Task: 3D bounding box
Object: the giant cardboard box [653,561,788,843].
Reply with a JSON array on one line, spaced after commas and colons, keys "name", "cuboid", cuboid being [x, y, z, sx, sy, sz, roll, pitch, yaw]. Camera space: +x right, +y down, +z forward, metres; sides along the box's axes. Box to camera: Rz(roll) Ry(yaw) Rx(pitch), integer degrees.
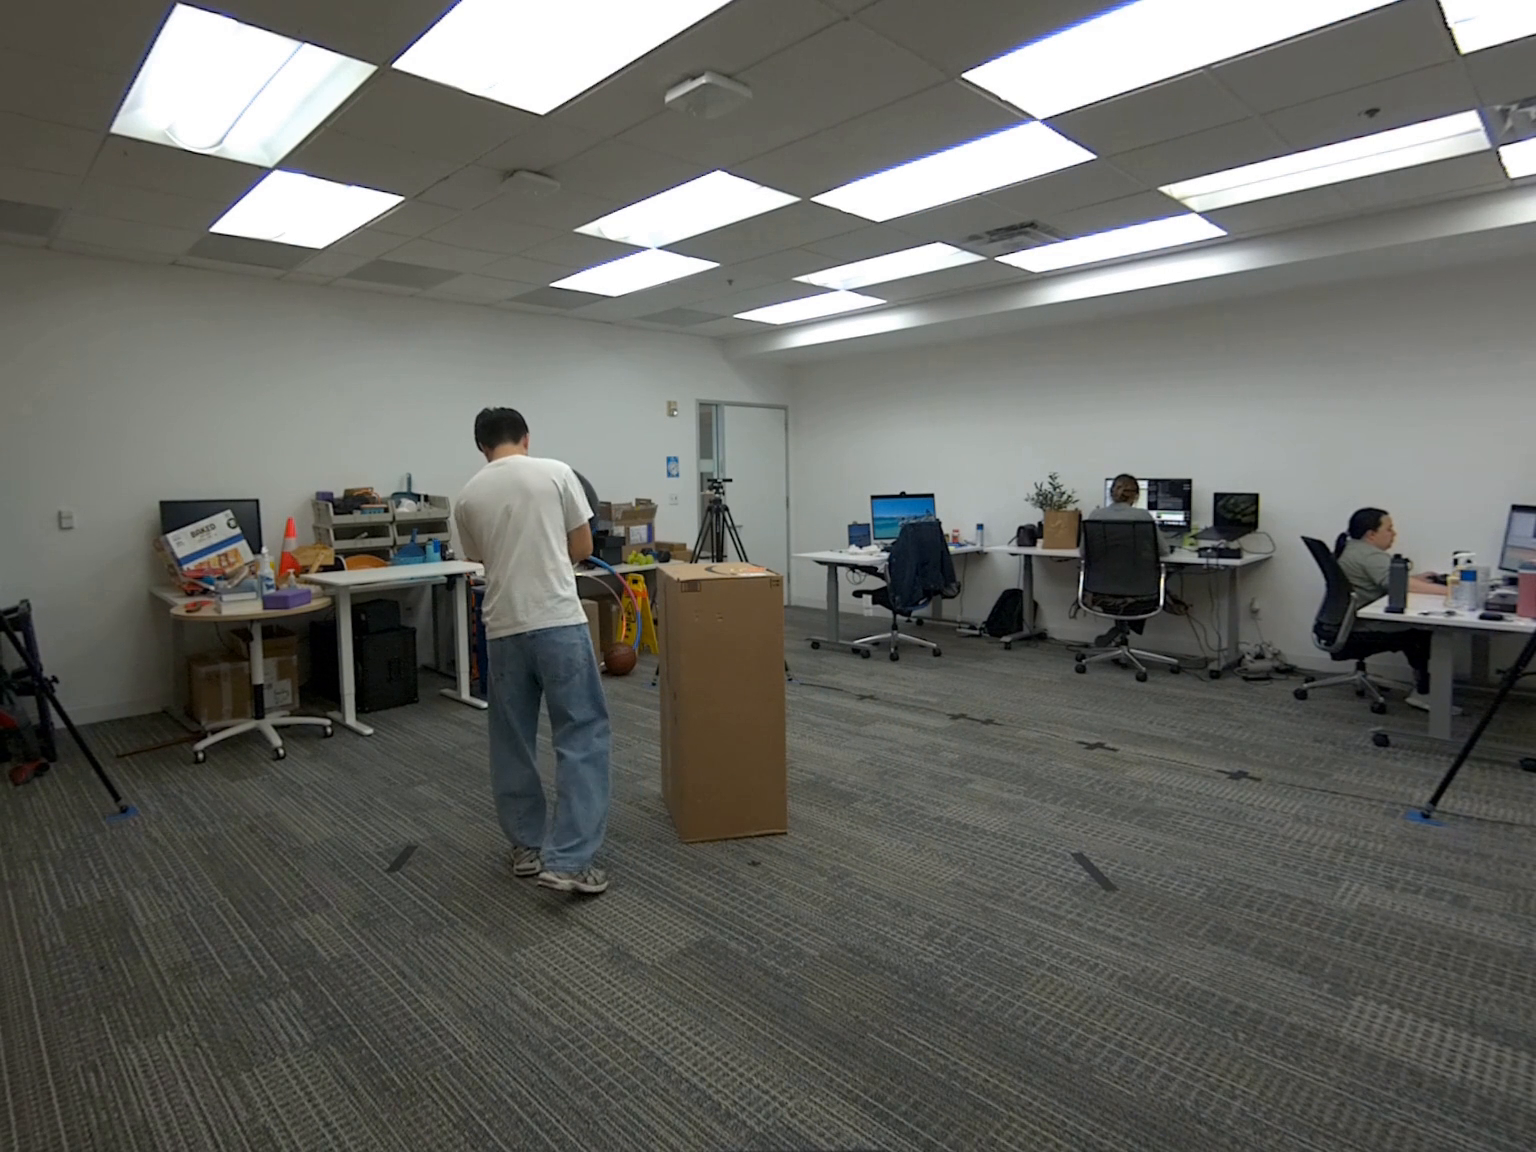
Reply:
[{"name": "giant cardboard box", "cuboid": [-0.205, 0.486, 3.573, 0.420, 1.023, 0.587, -2, 4, -16]}]
